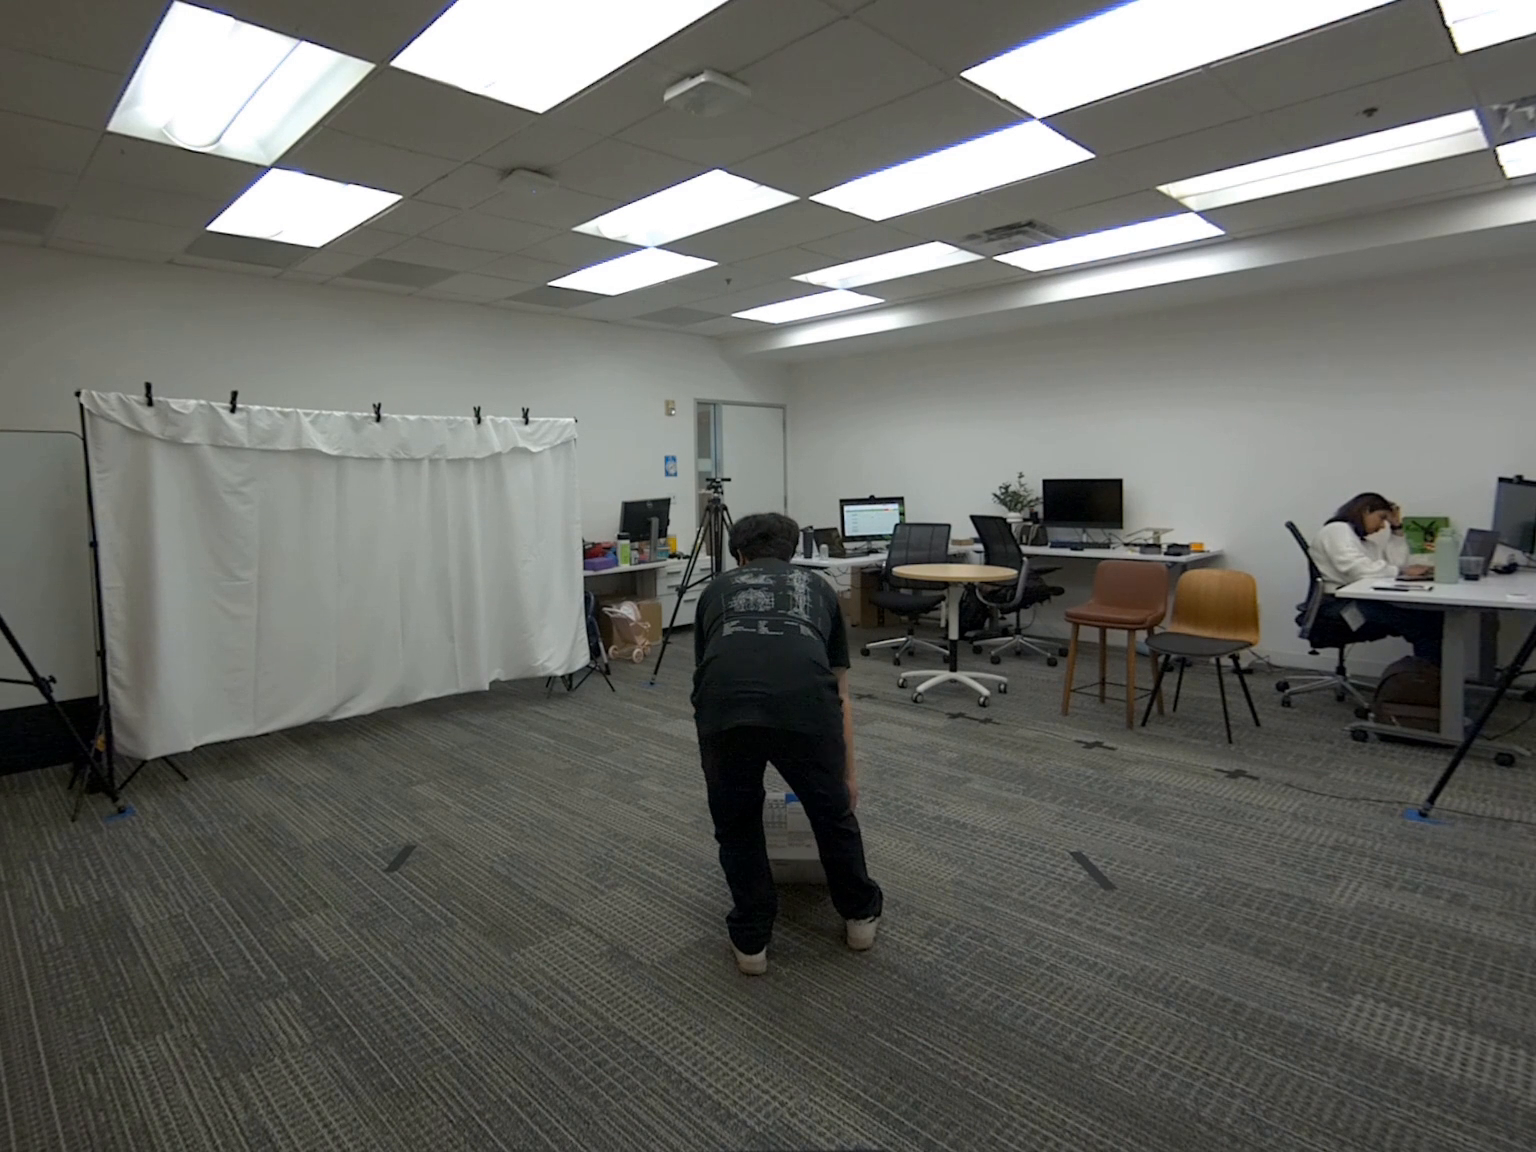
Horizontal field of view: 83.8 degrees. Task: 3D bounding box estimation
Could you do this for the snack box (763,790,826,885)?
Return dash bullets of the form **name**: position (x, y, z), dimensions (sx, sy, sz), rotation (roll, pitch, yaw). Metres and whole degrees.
- **snack box**: position (0.095, 0.875, 2.823), dimensions (0.341, 0.210, 0.394), rotation (-1, -29, 2)
